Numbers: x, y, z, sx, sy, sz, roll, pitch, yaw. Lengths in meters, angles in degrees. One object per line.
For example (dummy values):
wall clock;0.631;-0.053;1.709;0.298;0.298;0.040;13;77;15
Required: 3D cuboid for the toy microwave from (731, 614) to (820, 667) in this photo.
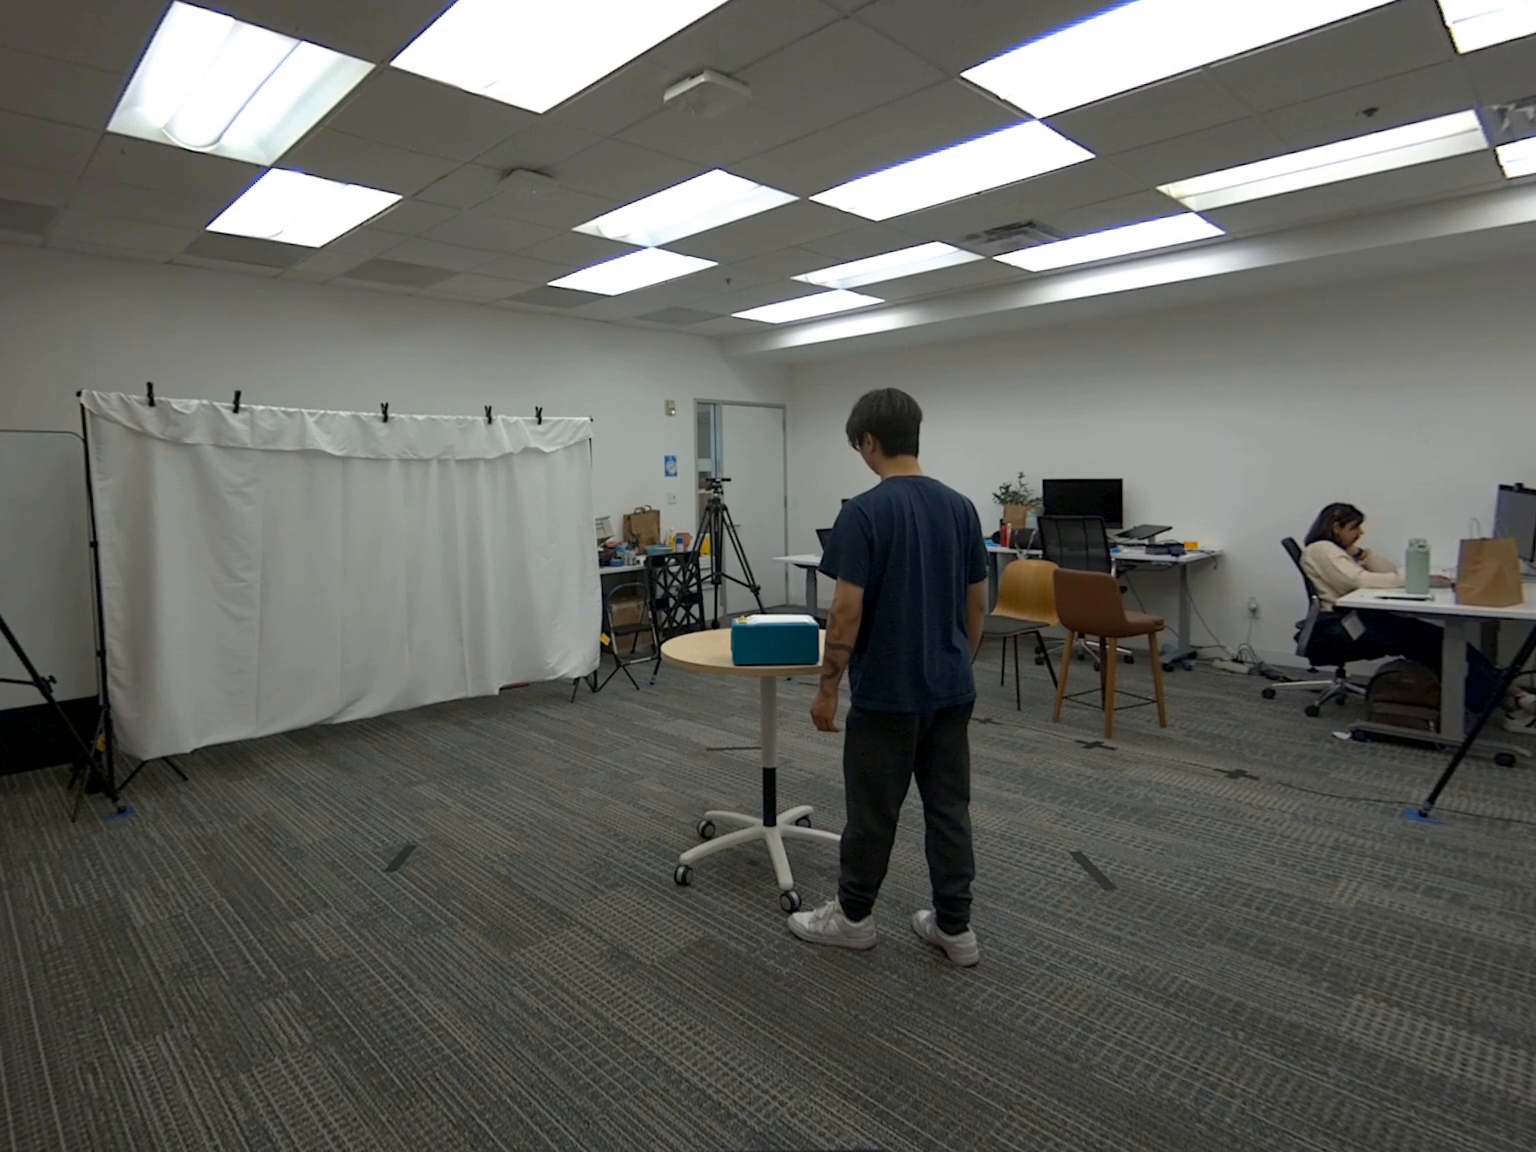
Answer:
toy microwave;0.024;0.201;2.802;0.286;0.152;0.184;0;3;0
